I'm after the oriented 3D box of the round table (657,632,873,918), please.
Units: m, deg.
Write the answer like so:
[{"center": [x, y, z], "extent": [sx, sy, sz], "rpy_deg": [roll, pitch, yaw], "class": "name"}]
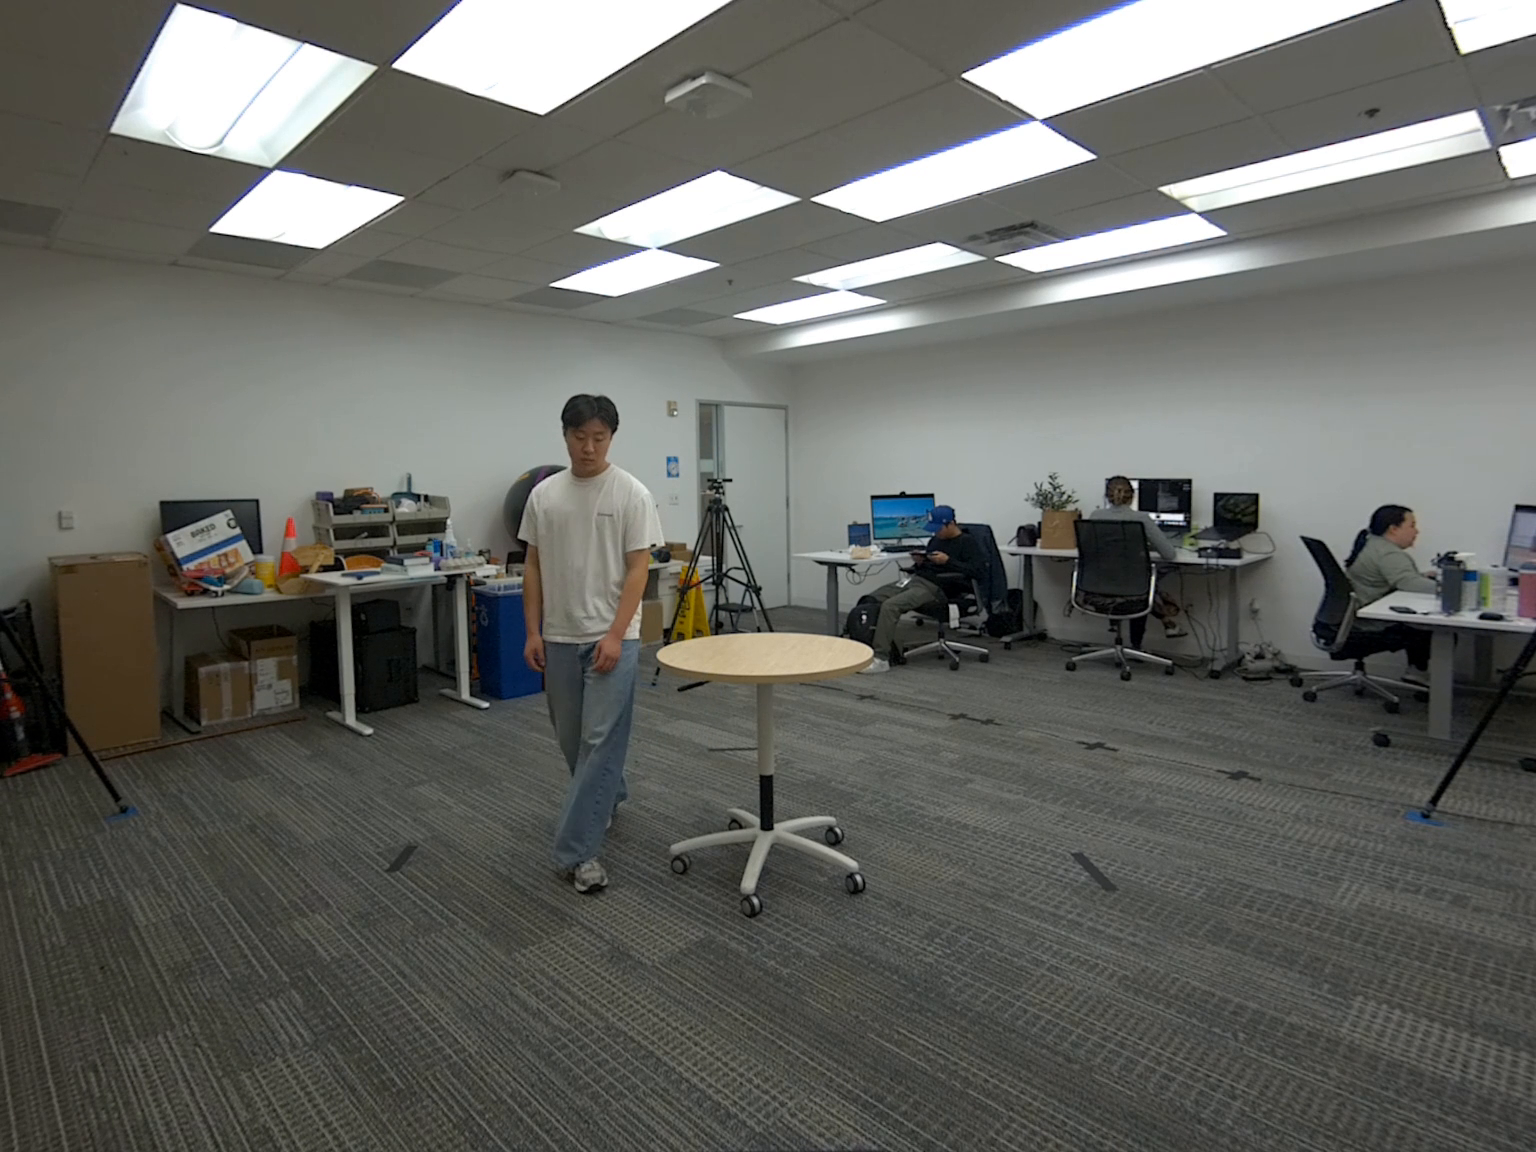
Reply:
[{"center": [-0.007, 0.659, 3.053], "extent": [0.763, 0.791, 0.768], "rpy_deg": [-1, 5, -2], "class": "round table"}]
